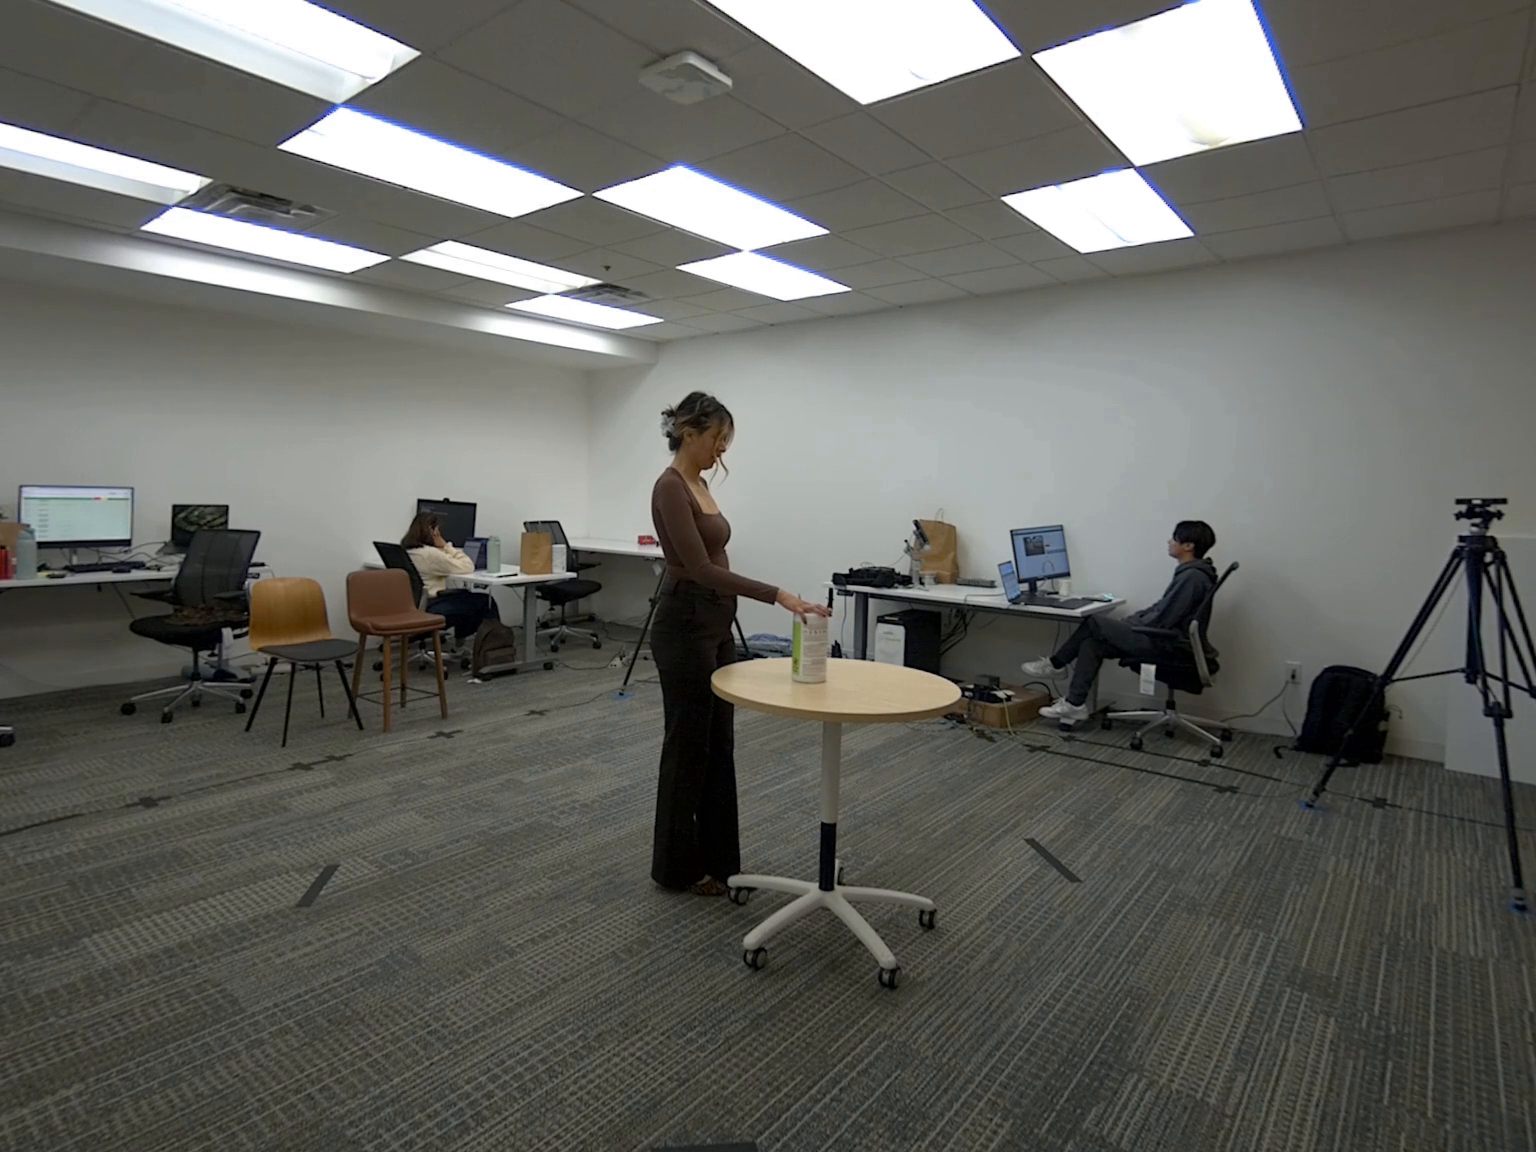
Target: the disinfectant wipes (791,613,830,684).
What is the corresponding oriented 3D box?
[{"bbox_3d":[0.125,0.217,2.657,0.118,0.217,0.118,-1,2,-2],"label":"disinfectant wipes"}]
